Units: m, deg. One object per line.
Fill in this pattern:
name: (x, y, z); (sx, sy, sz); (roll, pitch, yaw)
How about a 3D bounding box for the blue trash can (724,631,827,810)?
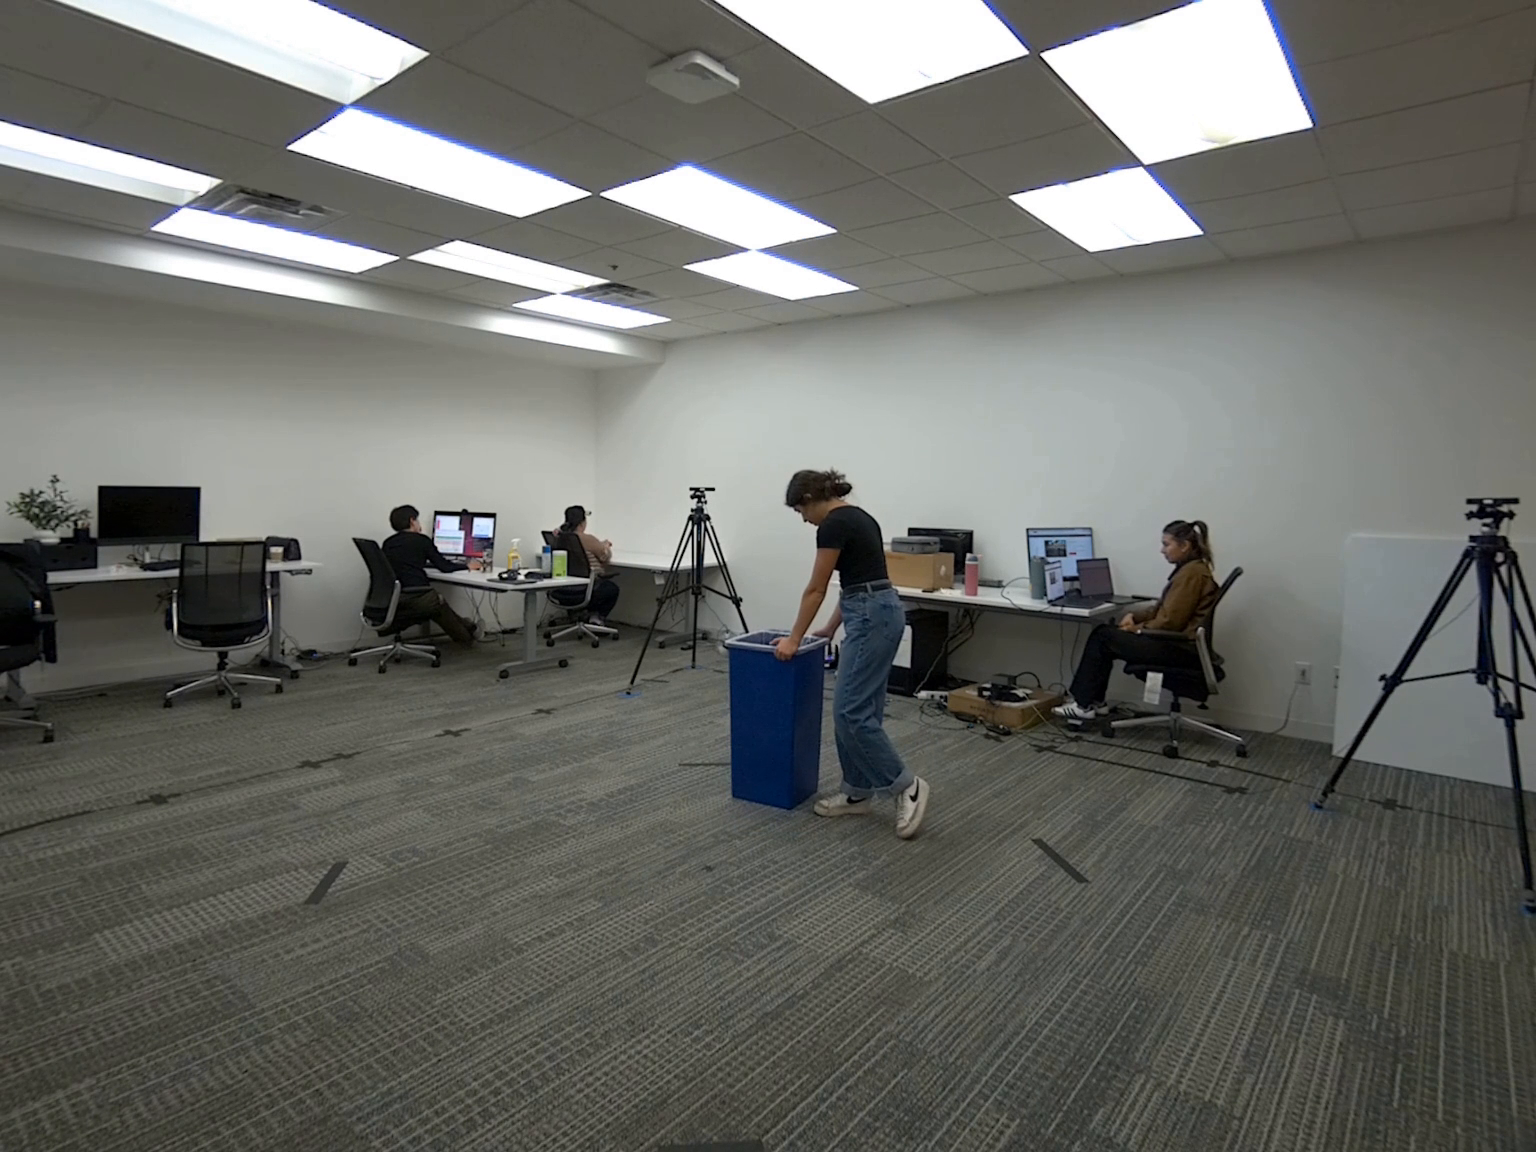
blue trash can: (0.028, 0.637, 3.874); (0.389, 0.712, 0.364); (2, 3, 29)
